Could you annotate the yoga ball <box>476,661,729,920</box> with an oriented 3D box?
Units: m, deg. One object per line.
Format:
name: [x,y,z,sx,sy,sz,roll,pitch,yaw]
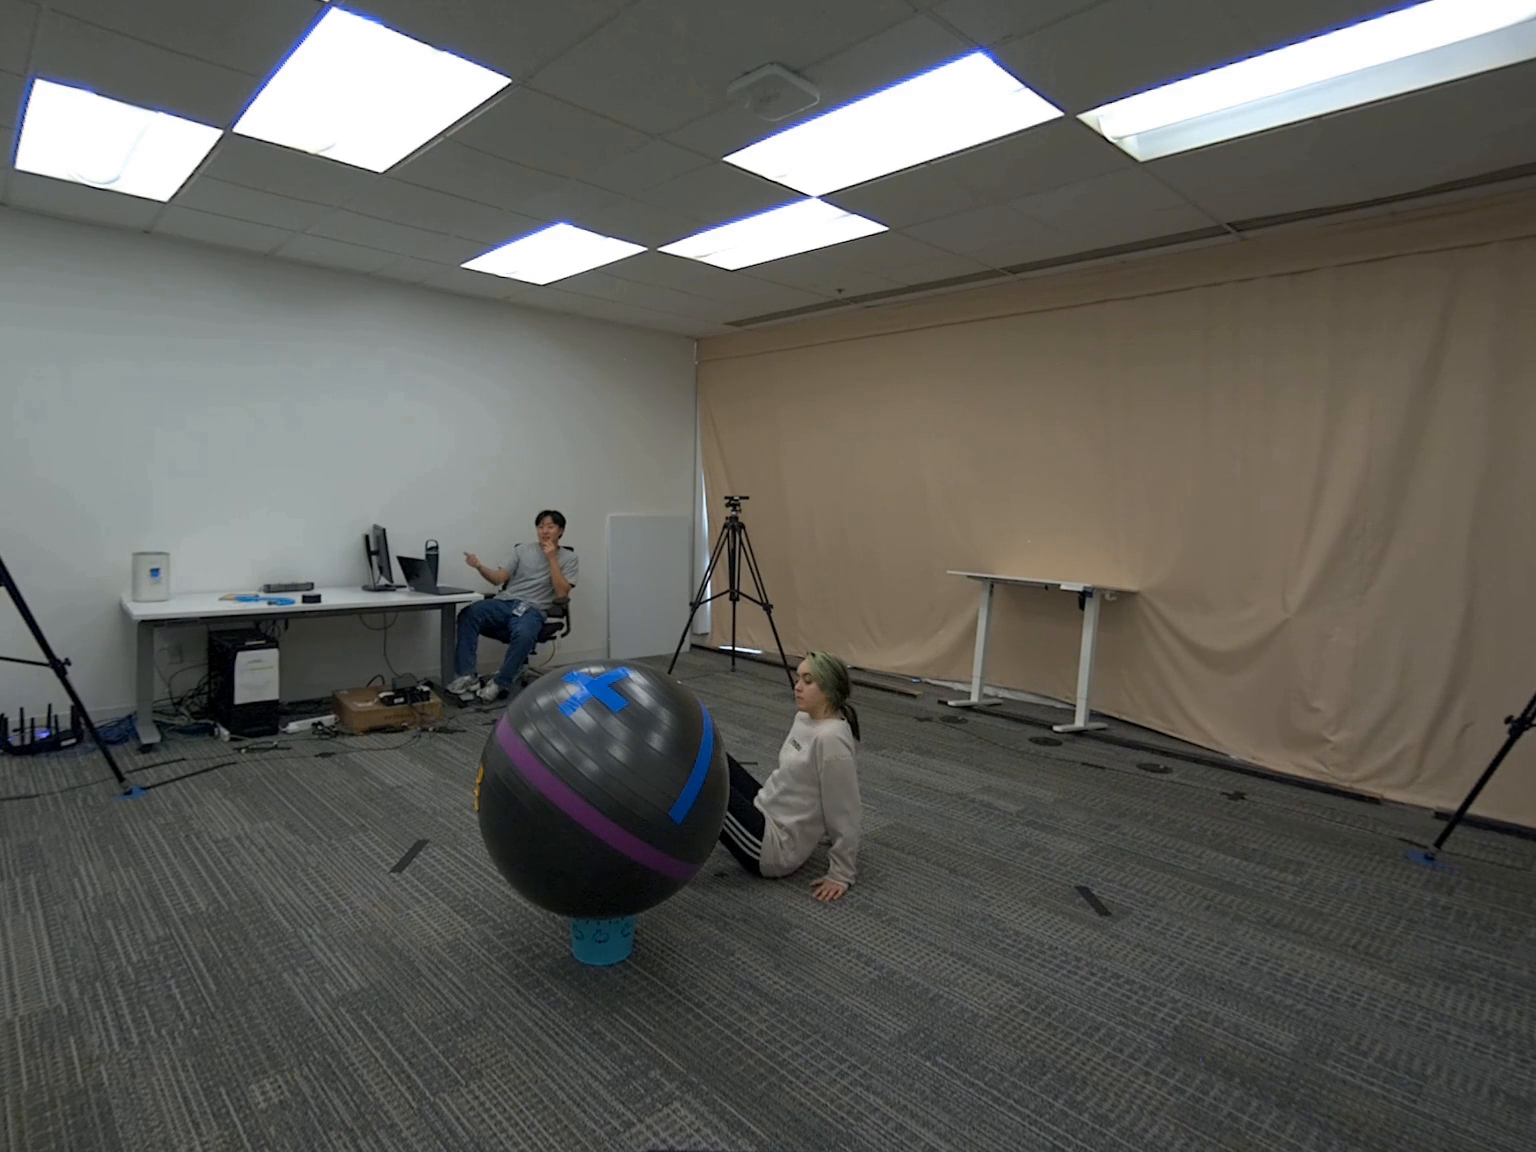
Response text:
yoga ball: [-0.502,0.637,2.557,0.757,0.756,0.761,1,4,-1]
